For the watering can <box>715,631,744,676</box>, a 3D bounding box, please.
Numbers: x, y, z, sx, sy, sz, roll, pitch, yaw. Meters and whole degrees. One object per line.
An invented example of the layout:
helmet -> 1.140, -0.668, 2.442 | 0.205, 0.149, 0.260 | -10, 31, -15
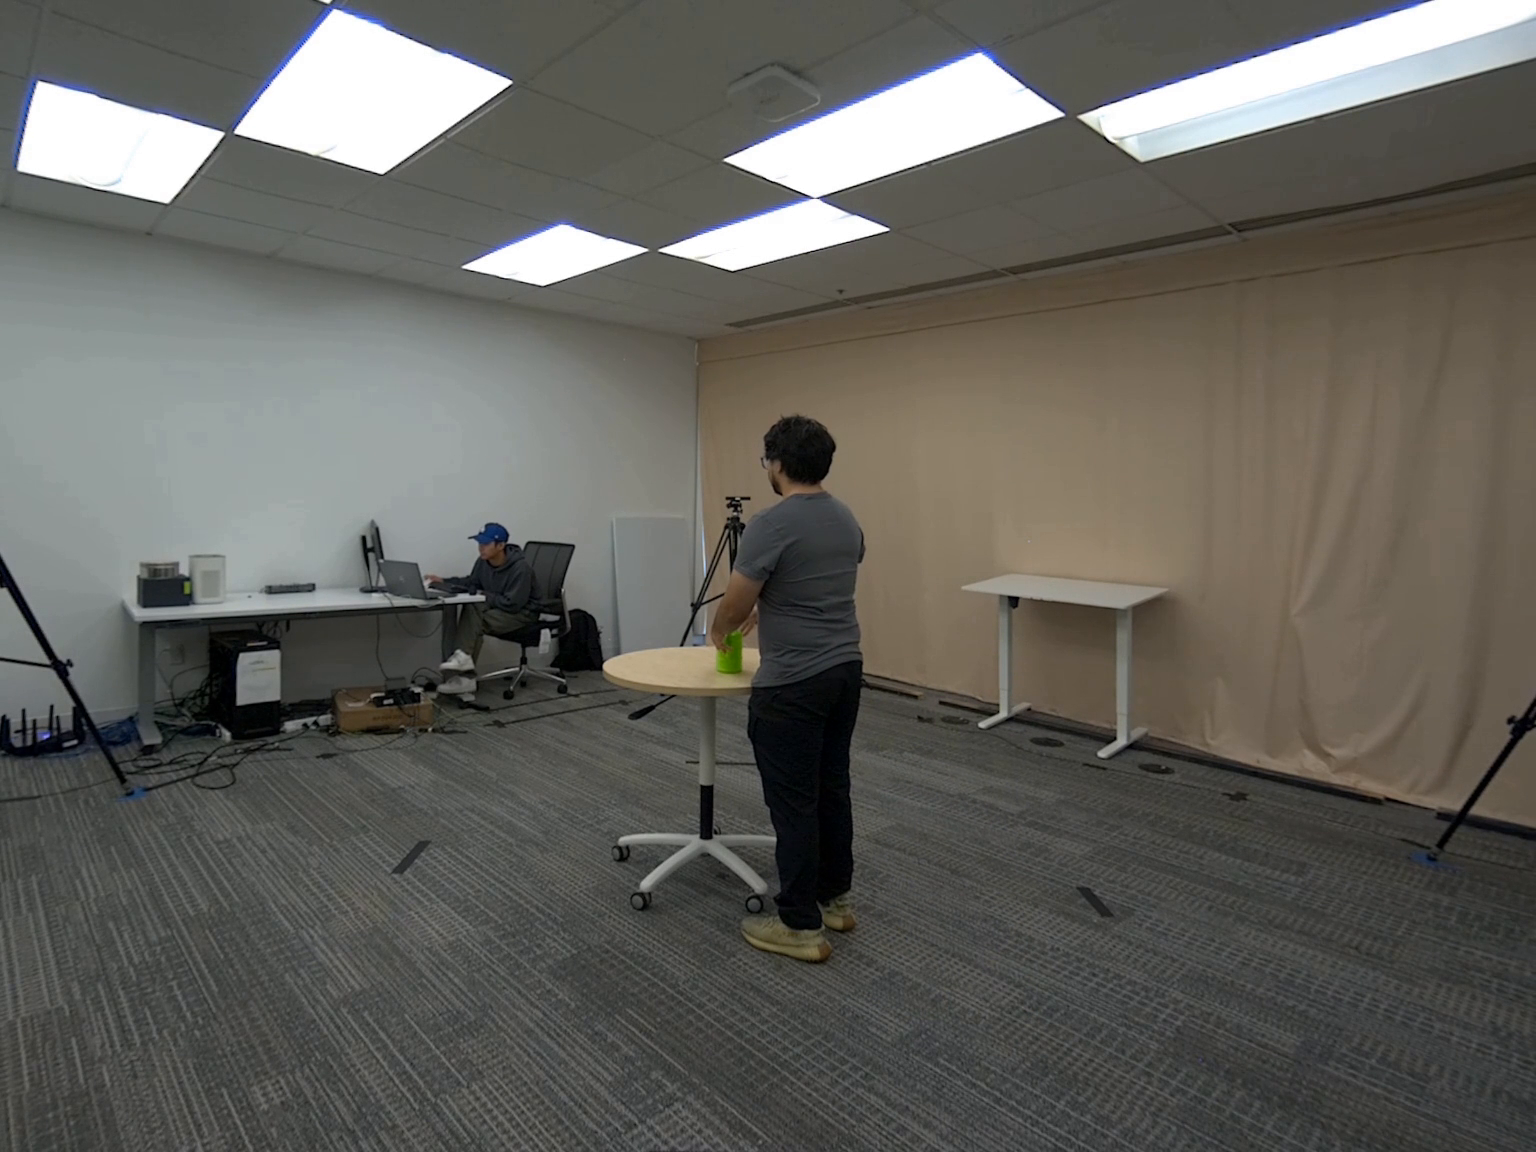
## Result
watering can -> -0.137, 0.247, 3.024 | 0.099, 0.176, 0.275 | 2, 5, 16
